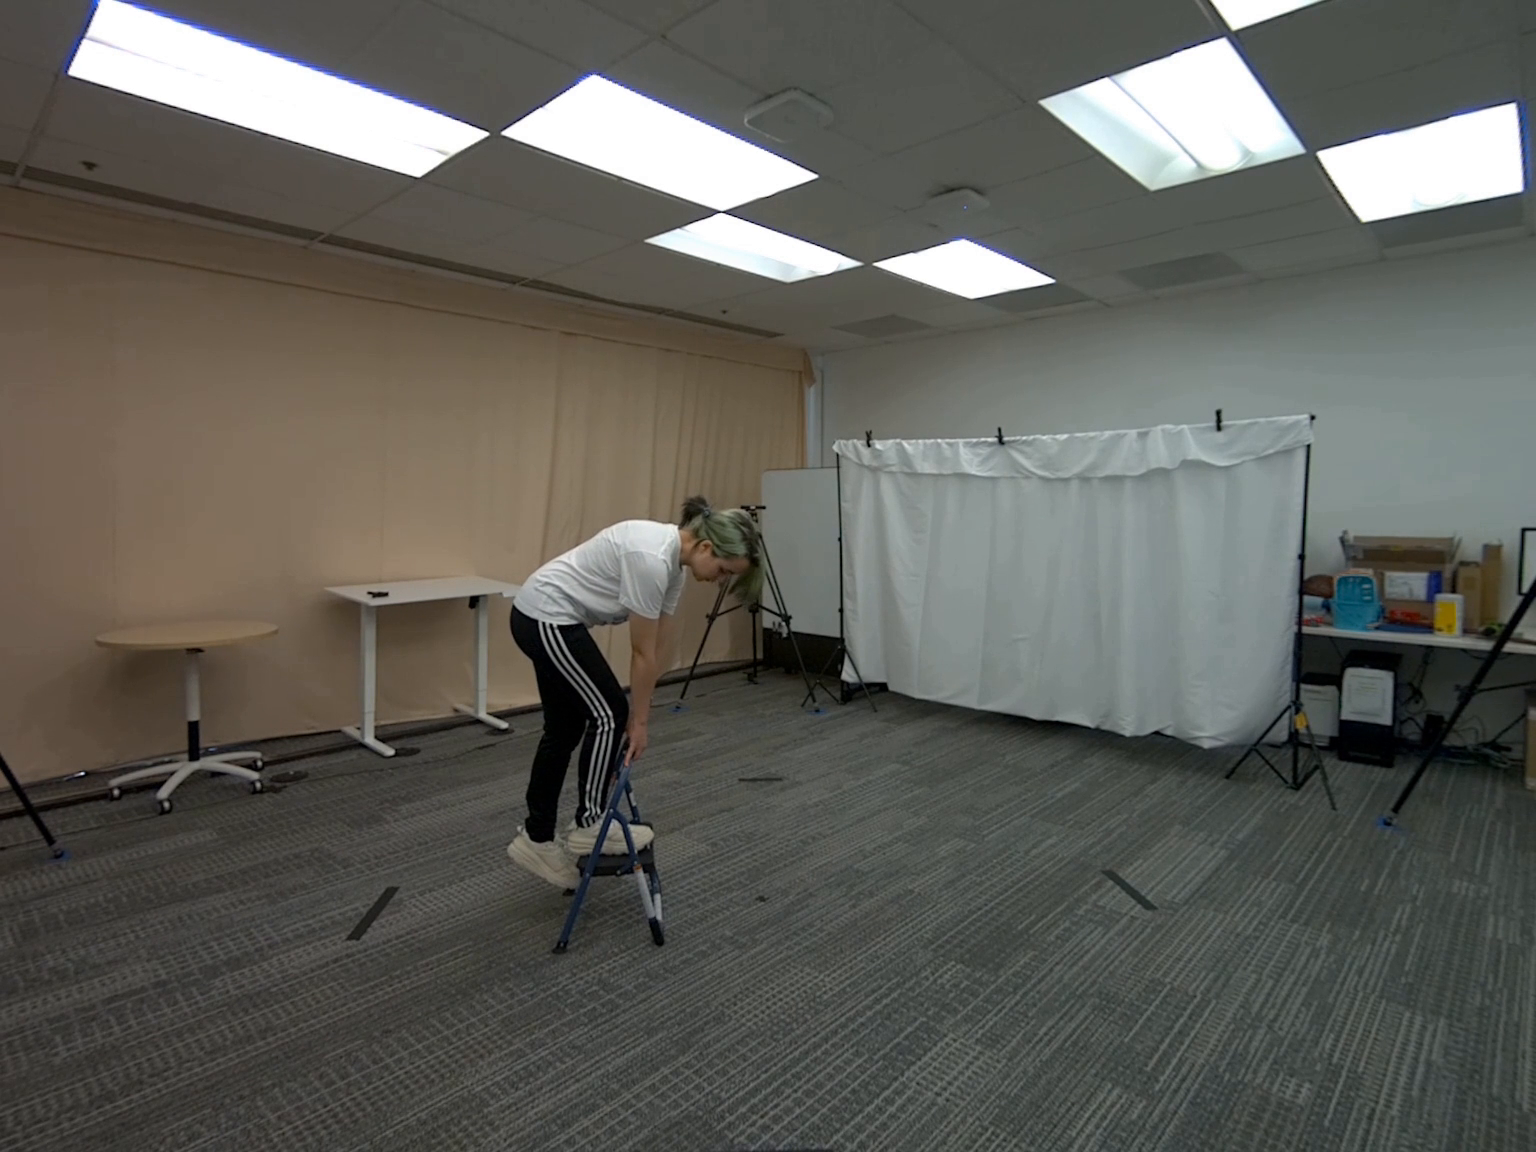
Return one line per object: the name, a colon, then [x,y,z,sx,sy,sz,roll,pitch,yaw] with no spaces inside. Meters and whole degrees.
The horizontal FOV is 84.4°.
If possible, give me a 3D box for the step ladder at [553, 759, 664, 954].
step ladder: [-0.532,0.862,2.838,0.347,0.605,0.434,-1,3,-8]
